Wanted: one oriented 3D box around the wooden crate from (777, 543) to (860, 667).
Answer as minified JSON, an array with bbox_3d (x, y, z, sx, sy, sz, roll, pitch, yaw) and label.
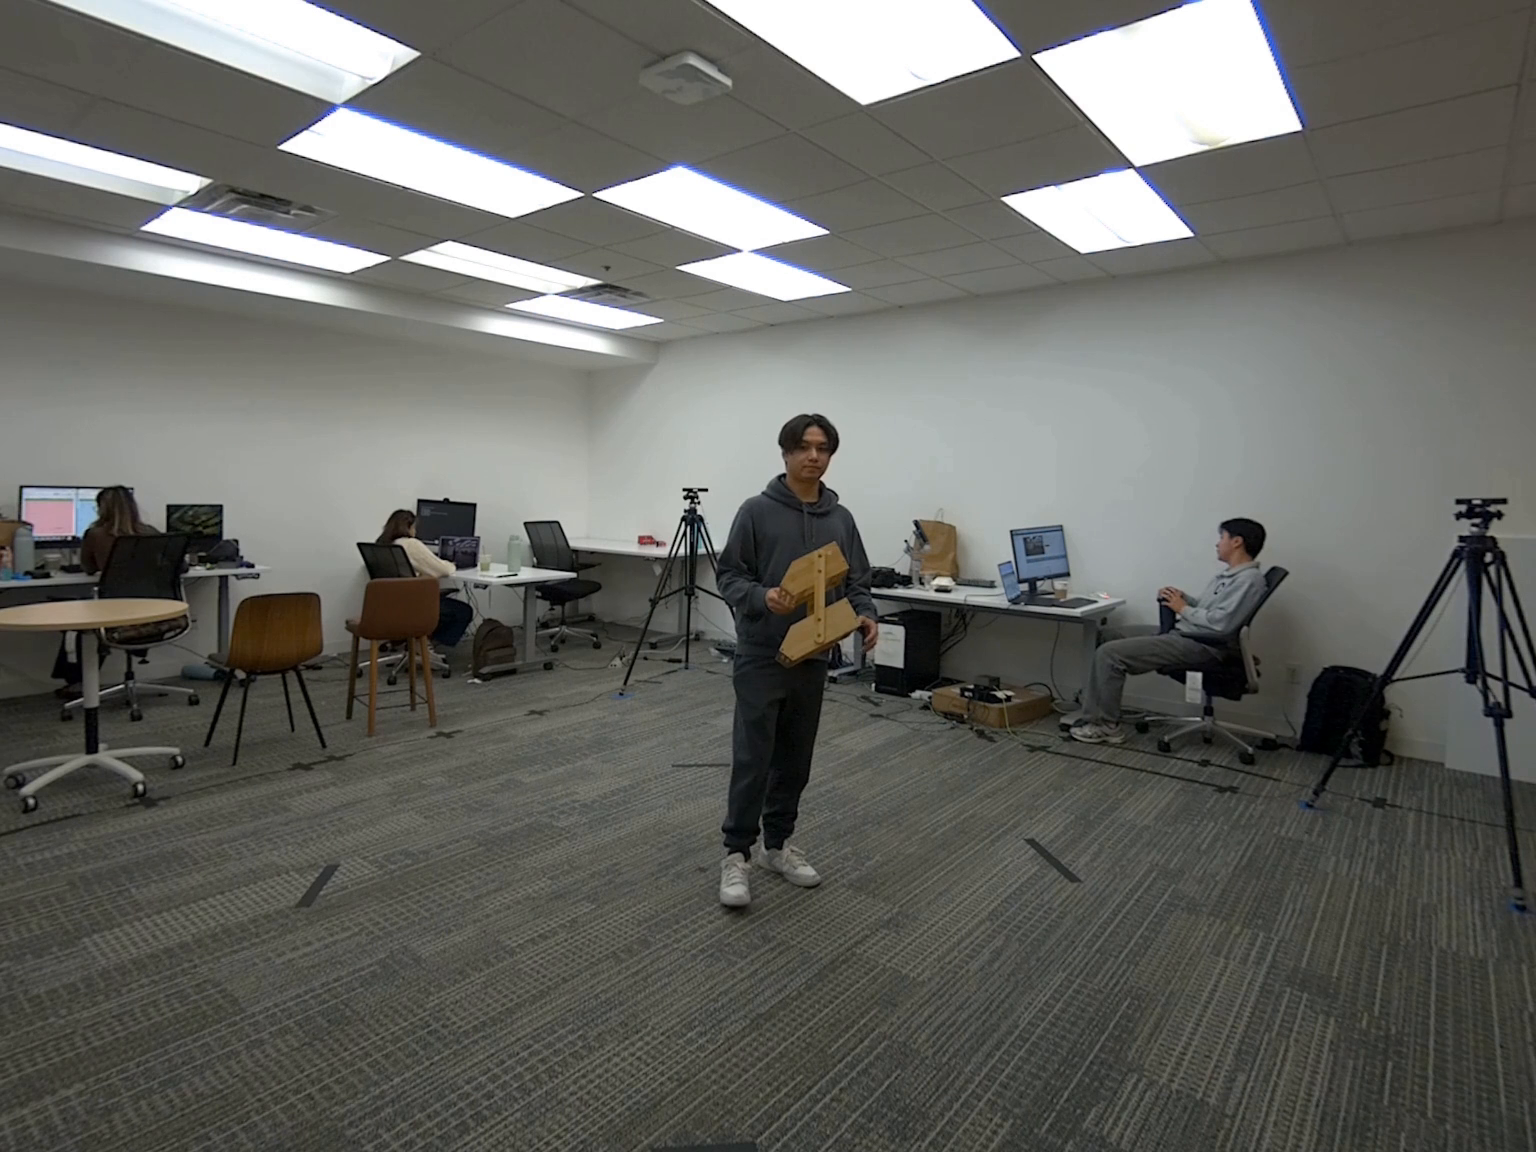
[{"bbox_3d":[0.105,0.094,2.682,0.301,0.277,0.321,-26,-10,-7],"label":"wooden crate"}]
